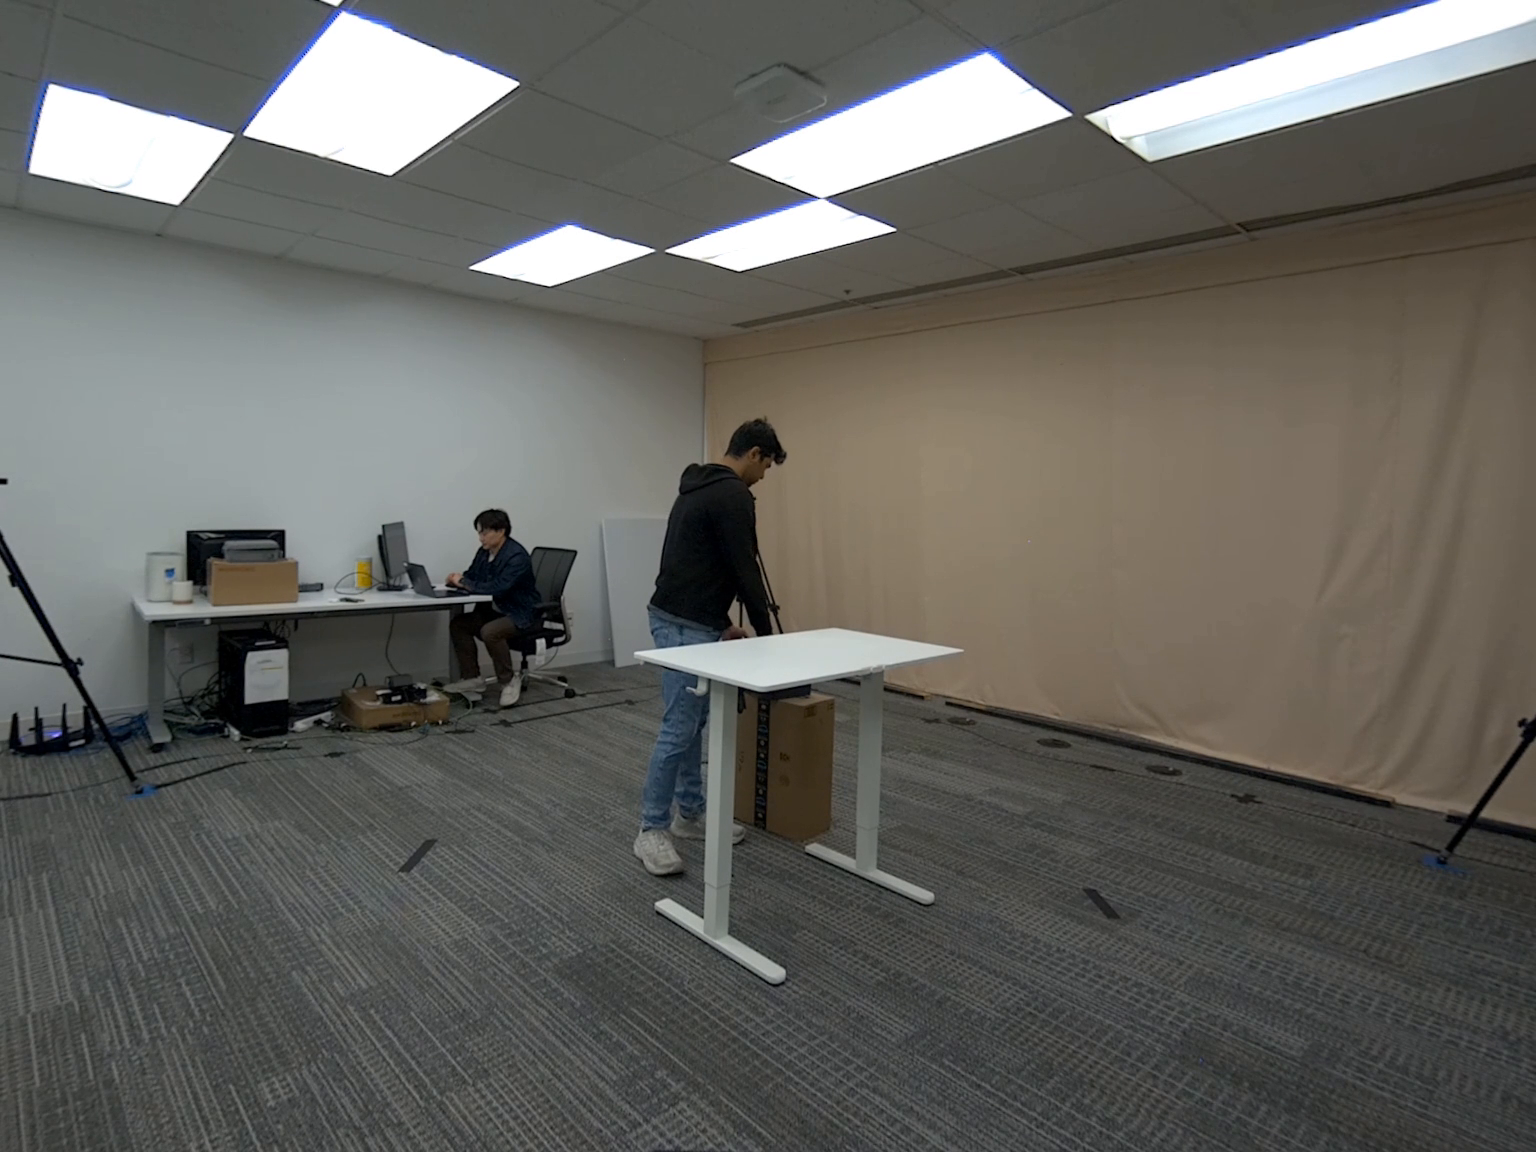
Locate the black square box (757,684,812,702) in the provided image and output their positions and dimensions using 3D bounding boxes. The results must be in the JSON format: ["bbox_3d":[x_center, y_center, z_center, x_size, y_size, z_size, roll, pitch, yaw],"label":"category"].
[{"bbox_3d":[0.025,0.423,3.613,0.212,0.155,0.234,-2,6,-38],"label":"black square box"}]
